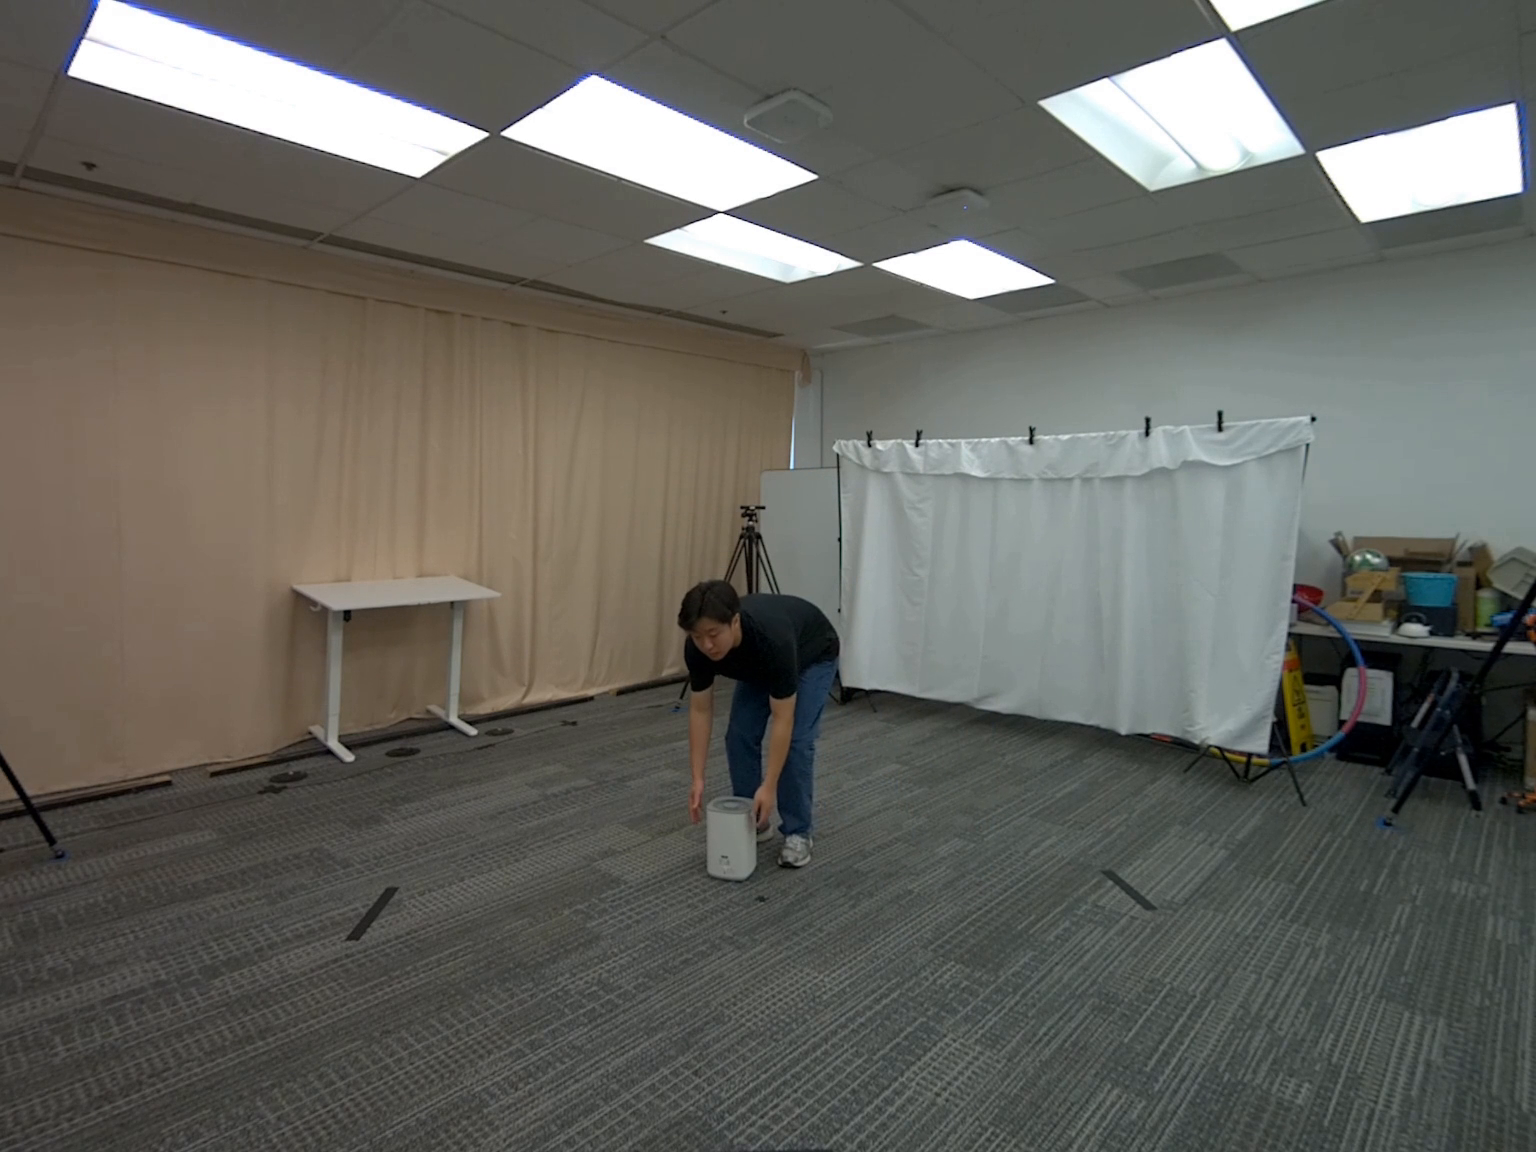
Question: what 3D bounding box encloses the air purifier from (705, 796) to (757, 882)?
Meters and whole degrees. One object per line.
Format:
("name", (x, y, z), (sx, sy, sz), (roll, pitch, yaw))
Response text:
("air purifier", (-0.133, 0.994, 3.190), (0.174, 0.265, 0.169), (2, 4, 18))
